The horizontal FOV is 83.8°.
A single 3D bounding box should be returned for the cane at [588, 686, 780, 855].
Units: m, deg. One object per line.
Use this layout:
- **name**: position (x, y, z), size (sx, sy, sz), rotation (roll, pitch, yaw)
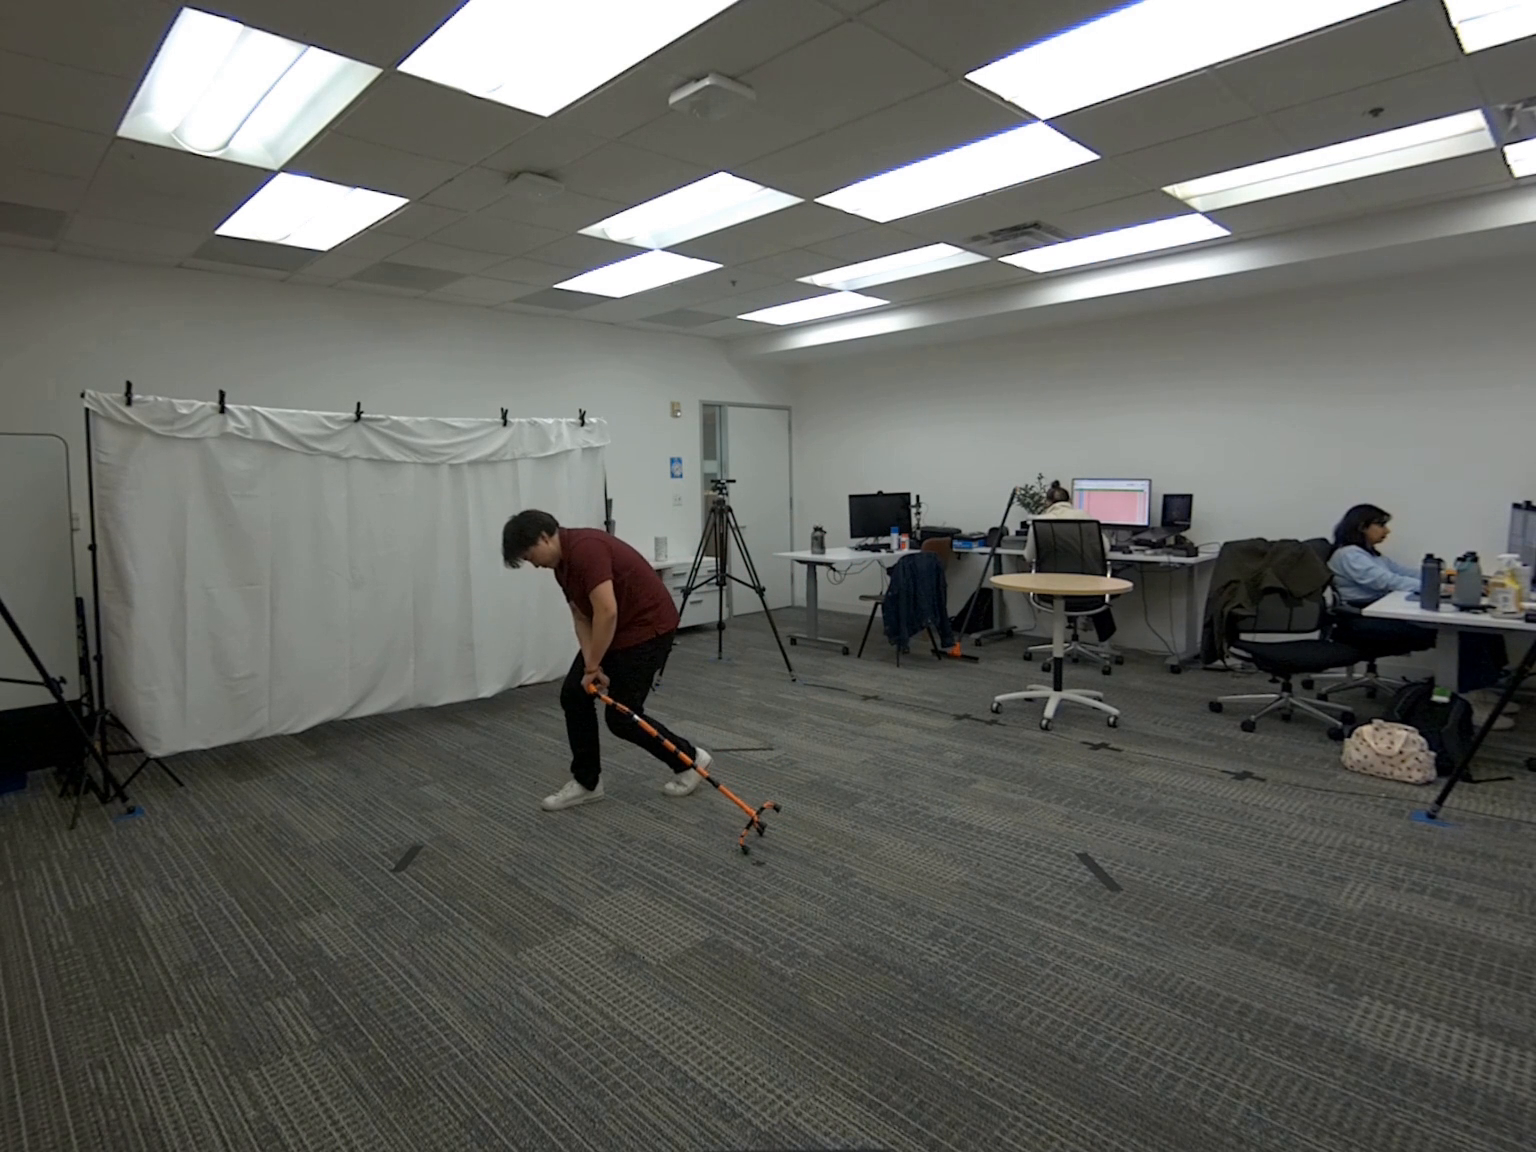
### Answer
- **cane**: position (-0.364, 0.701, 3.372), size (0.927, 0.151, 0.203), rotation (36, 14, 15)
